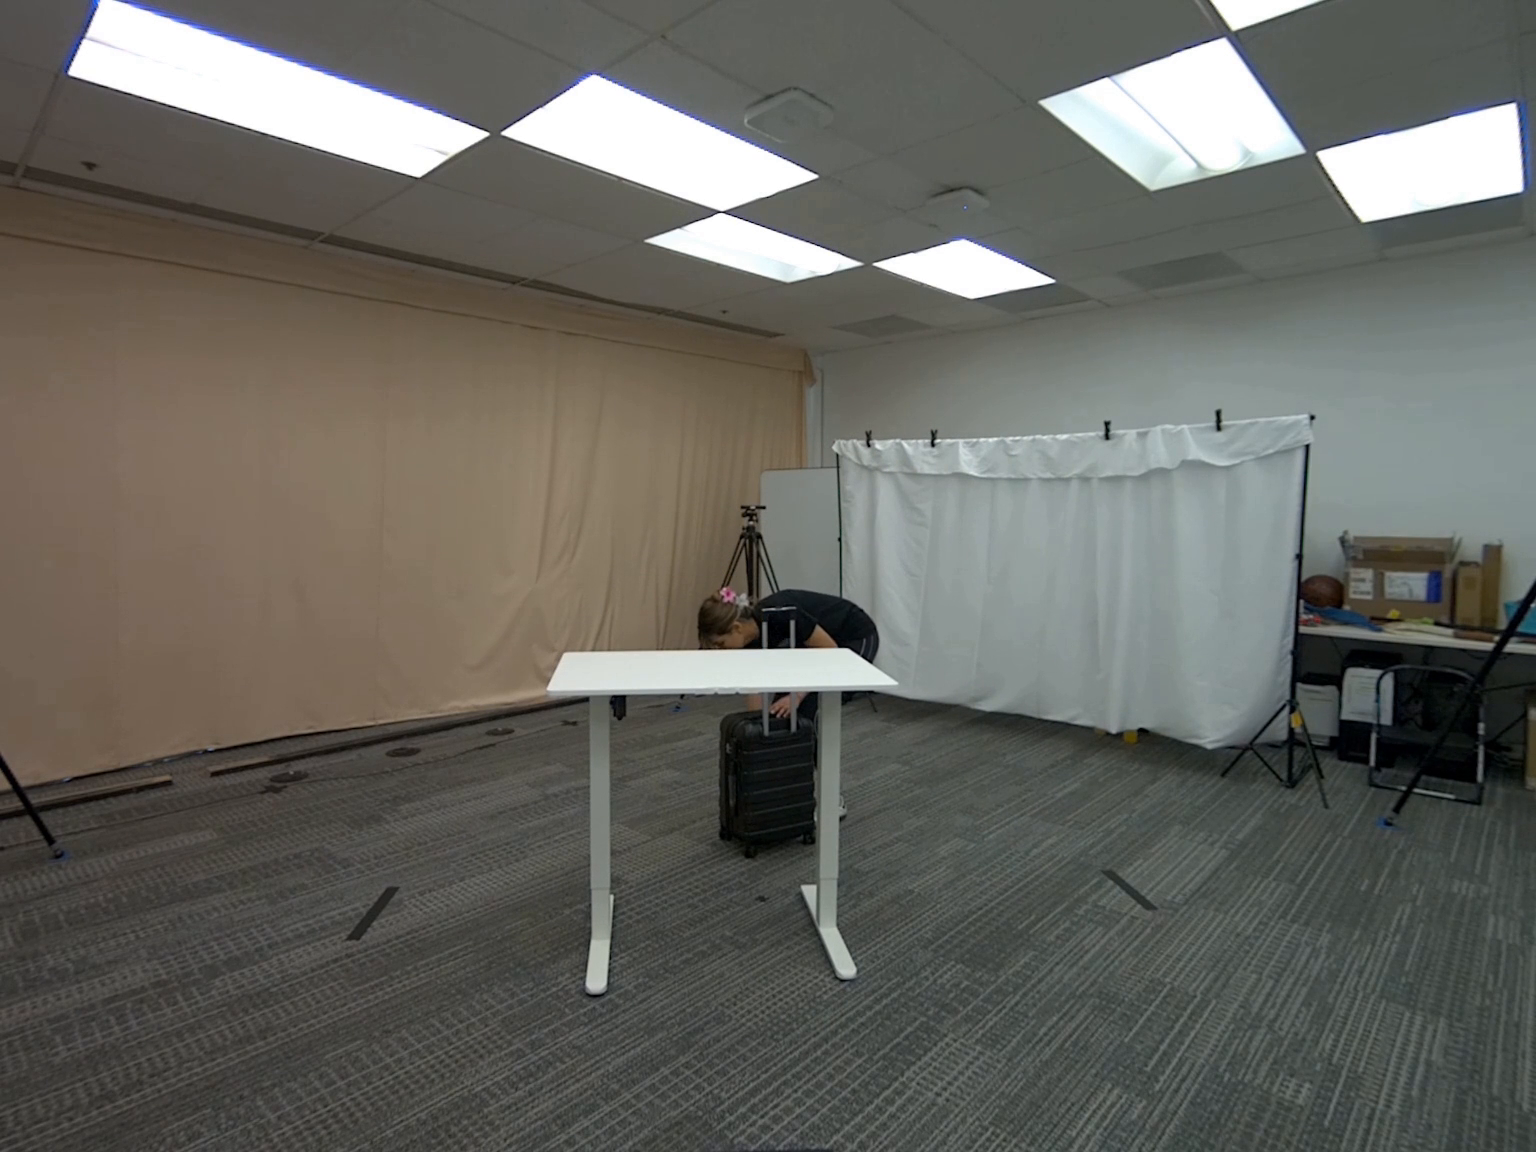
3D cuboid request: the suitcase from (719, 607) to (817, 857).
[{"bbox_3d":[-0.019,0.623,3.453,0.375,0.977,0.263,-2,2,-24],"label":"suitcase"}]
